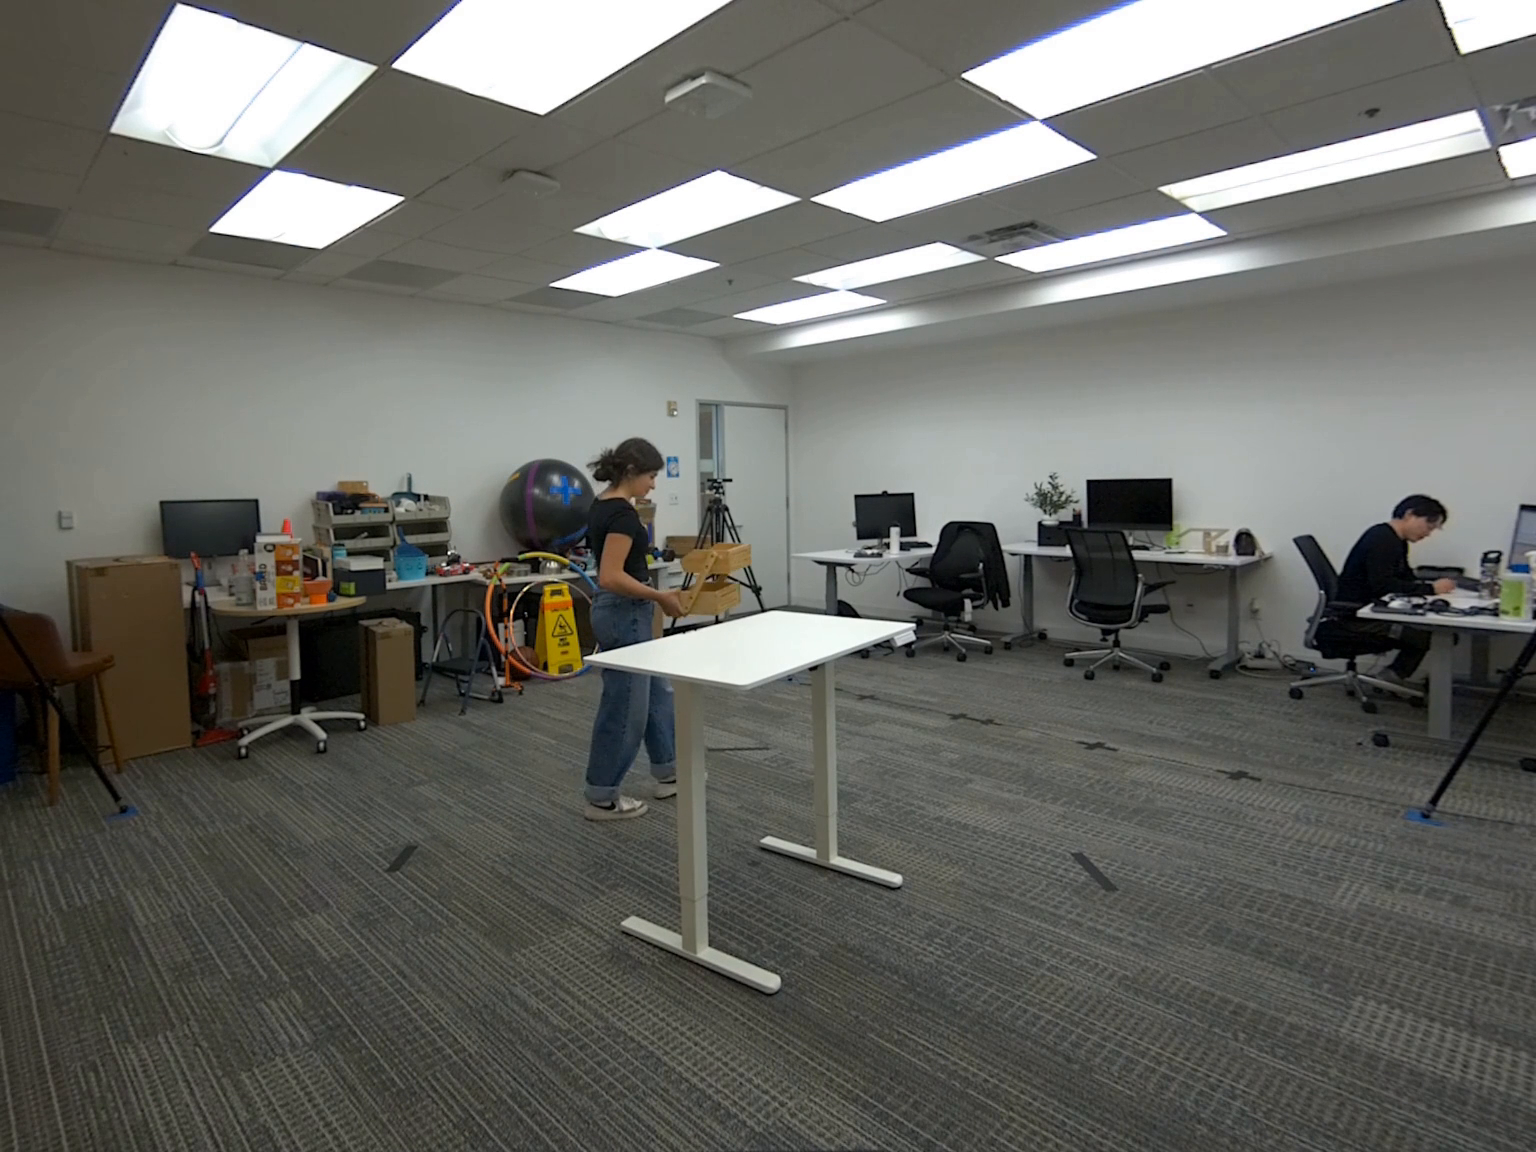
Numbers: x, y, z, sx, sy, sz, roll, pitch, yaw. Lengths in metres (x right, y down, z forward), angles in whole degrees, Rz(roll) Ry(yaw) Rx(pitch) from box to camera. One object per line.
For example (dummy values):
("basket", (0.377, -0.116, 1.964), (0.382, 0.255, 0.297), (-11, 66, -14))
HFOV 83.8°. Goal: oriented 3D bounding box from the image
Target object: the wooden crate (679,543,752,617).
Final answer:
("wooden crate", (-0.262, 0.008, 3.559), (0.308, 0.272, 0.320), (-1, 7, 20))
